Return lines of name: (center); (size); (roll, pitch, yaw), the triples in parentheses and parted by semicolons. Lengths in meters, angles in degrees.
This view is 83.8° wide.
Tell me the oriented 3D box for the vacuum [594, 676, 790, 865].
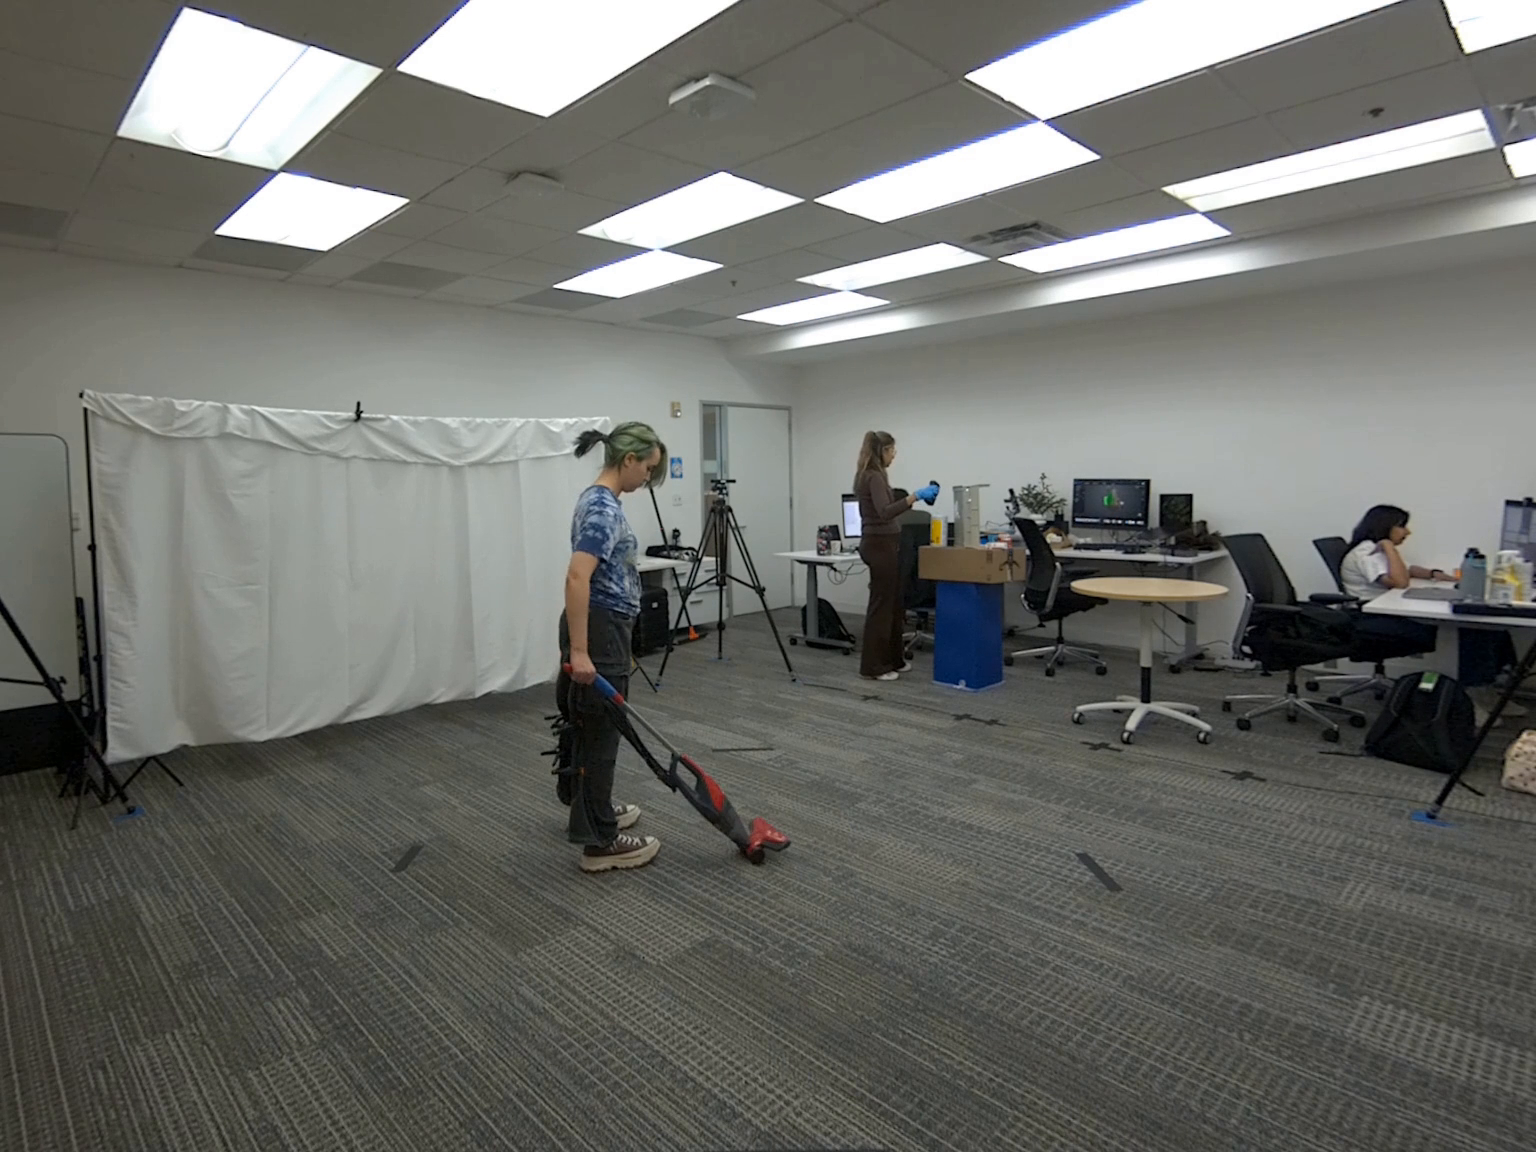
vacuum: (-0.349, 0.666, 3.022); (1.023, 0.144, 0.259); (45, -16, -20)
